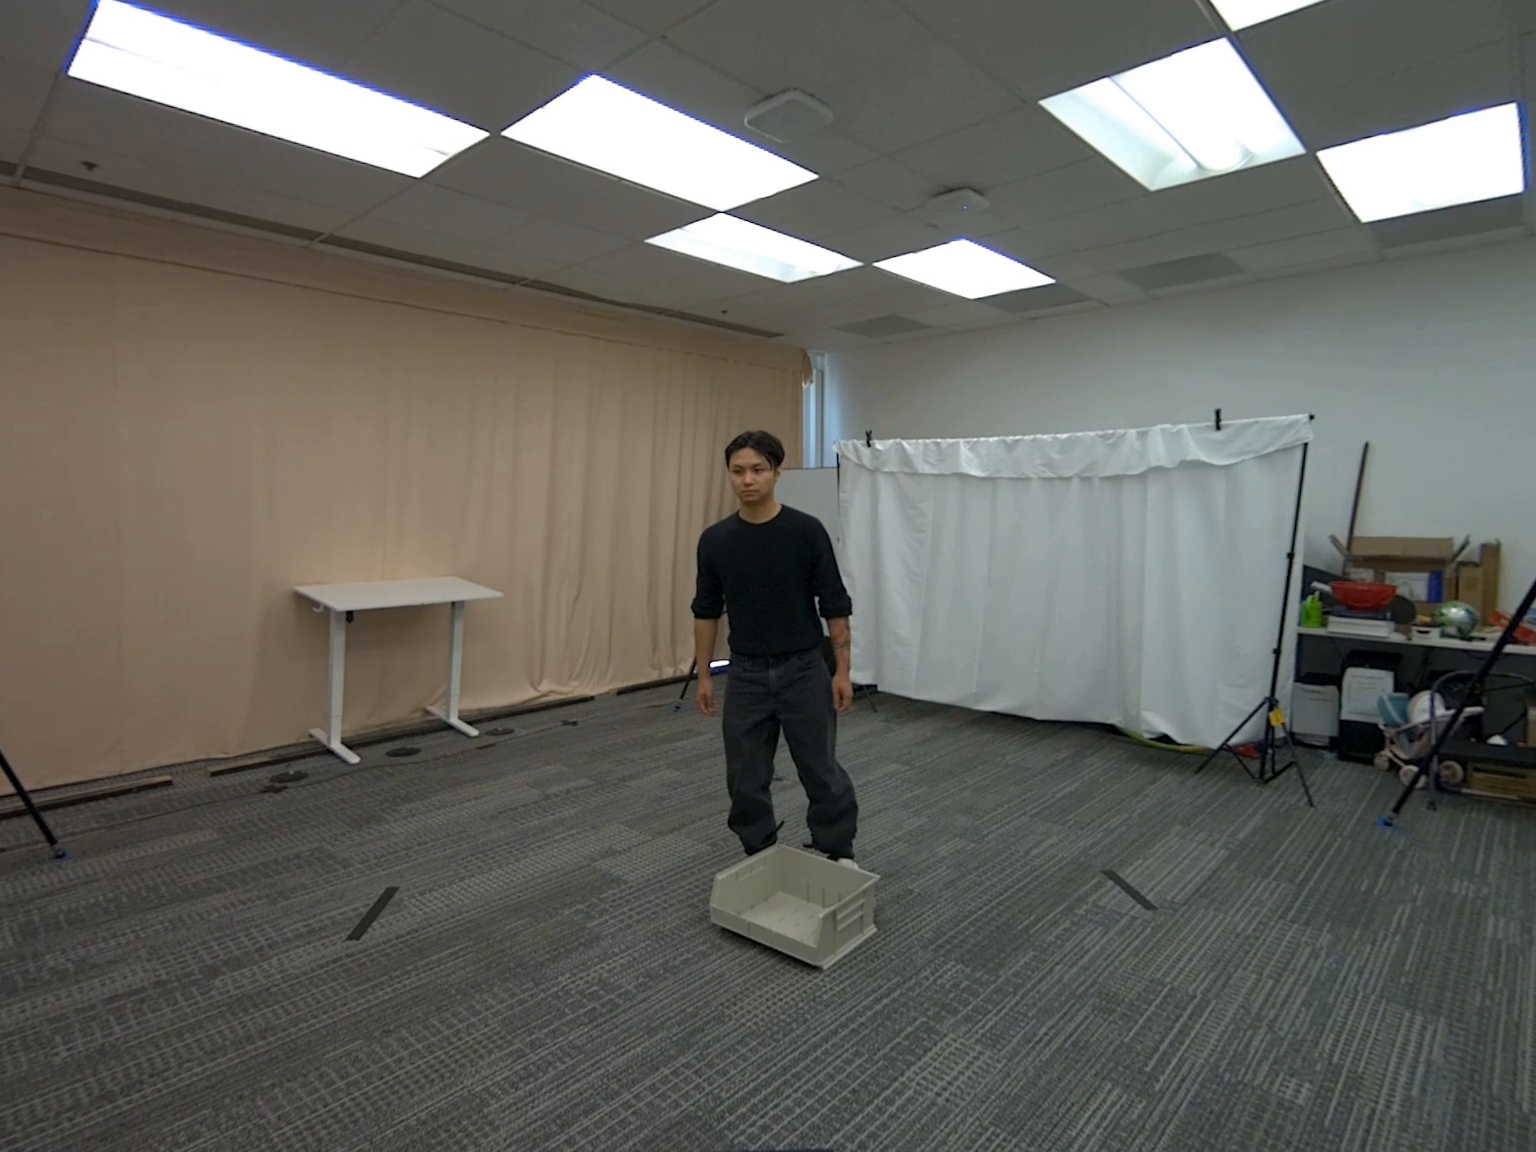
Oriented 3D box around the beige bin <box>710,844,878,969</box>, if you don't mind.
[{"bbox_3d":[0.089,1.073,2.751,0.436,0.189,0.366,3,4,39],"label":"beige bin"}]
